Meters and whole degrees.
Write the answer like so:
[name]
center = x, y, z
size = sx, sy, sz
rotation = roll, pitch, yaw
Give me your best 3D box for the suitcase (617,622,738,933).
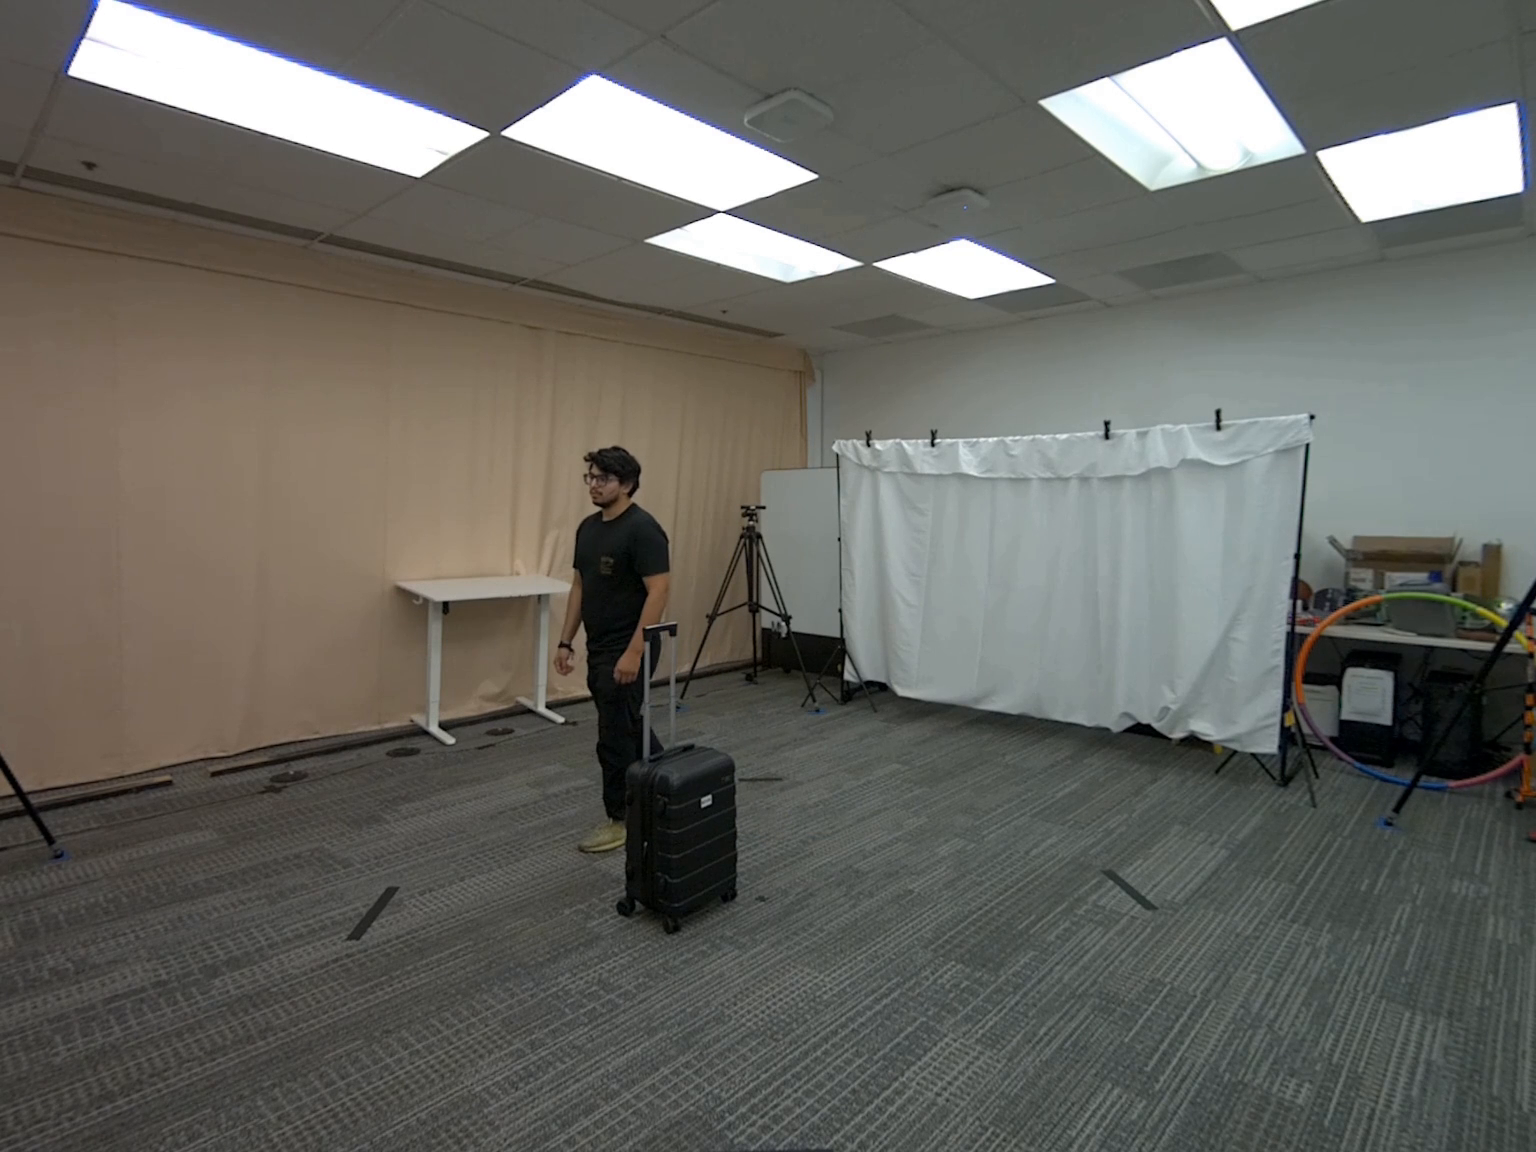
[suitcase]
center = -0.290, 0.676, 2.888
size = 0.266, 0.975, 0.372
rotation = 6, 7, 38
